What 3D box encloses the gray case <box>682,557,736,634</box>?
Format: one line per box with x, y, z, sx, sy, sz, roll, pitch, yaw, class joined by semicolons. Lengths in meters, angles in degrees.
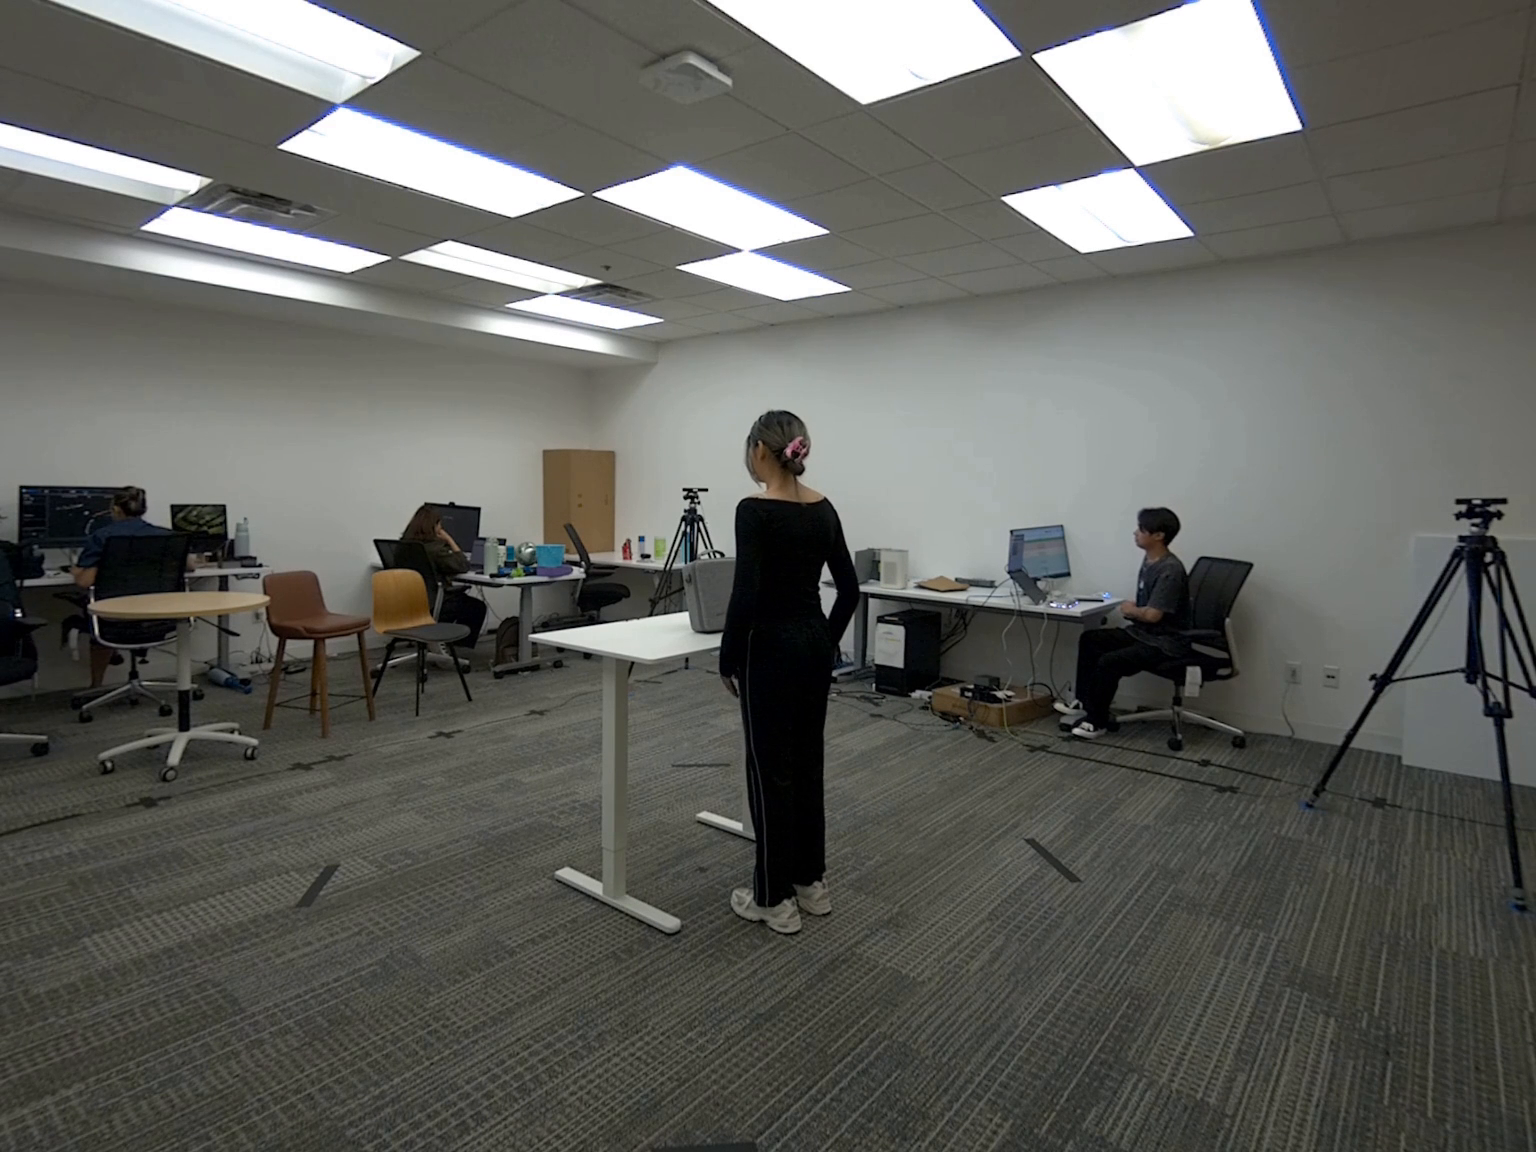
-0.183;0.059;3.063;0.249;0.262;0.107;-4;-8;-42;gray case
